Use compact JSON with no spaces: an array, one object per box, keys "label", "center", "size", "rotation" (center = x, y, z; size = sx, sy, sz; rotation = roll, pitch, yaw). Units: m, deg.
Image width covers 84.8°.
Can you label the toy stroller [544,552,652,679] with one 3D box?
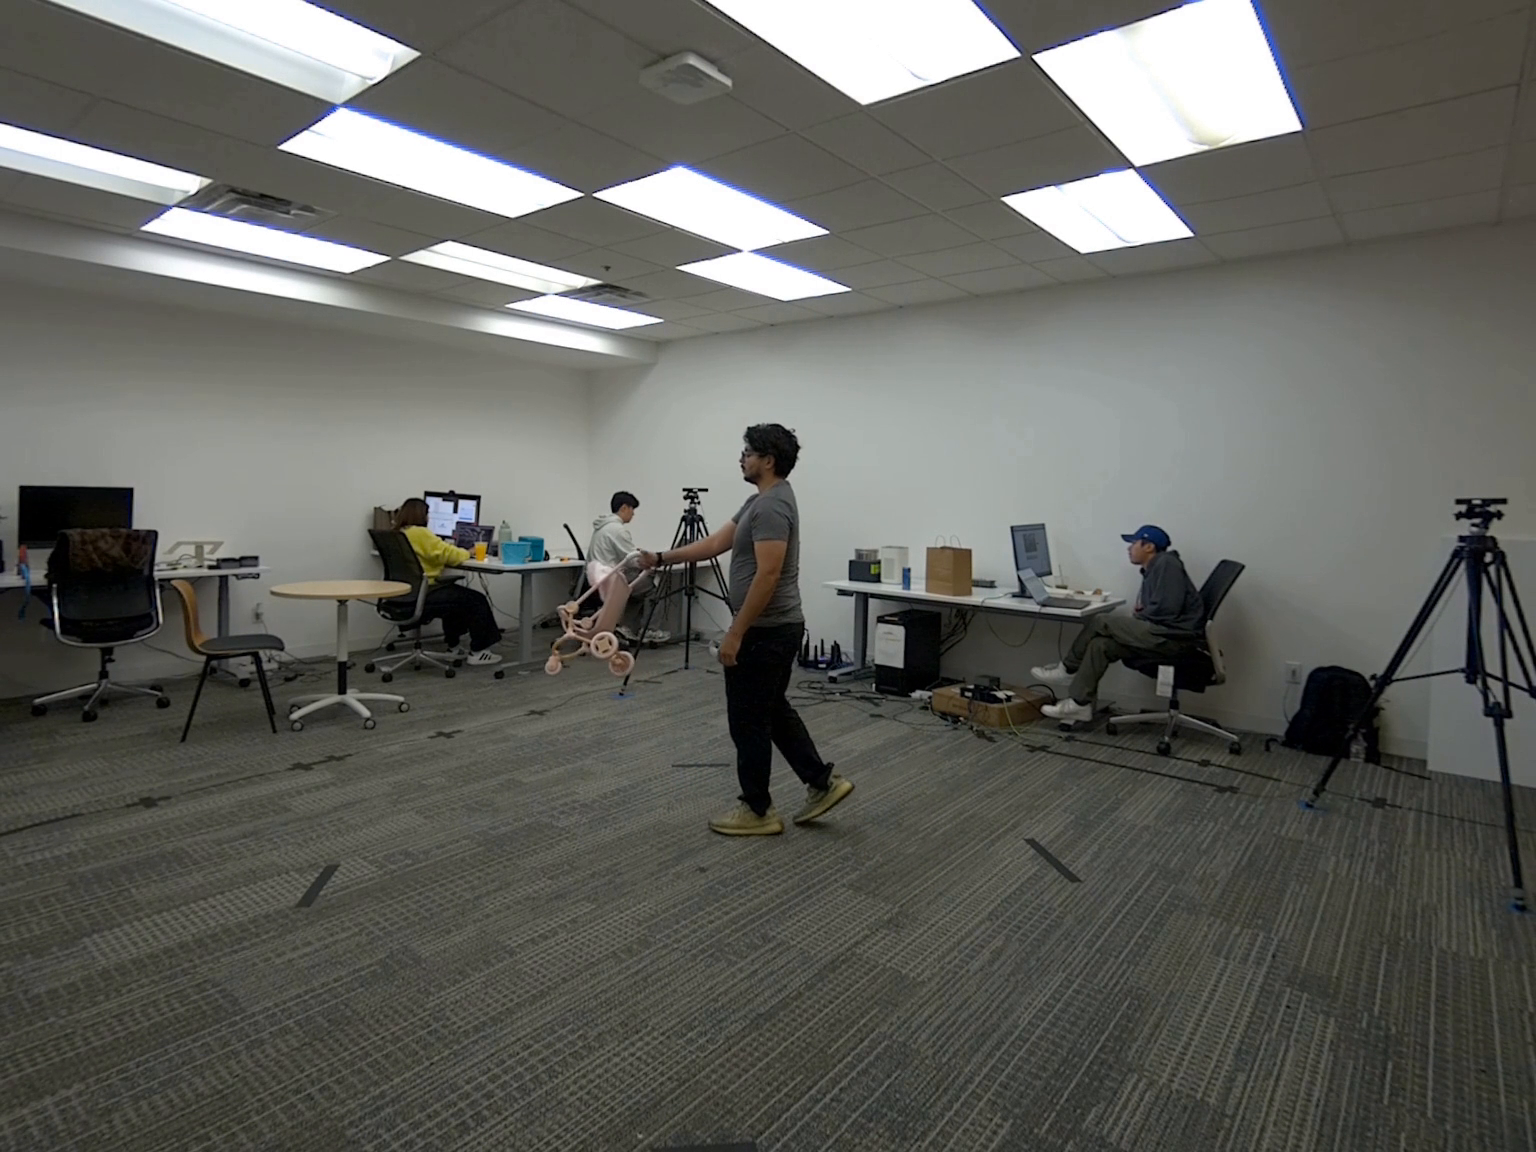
[{"label":"toy stroller","center":[-0.716,0.164,3.488],"size":[0.347,0.544,0.272],"rotation":[2,-23,15]}]
